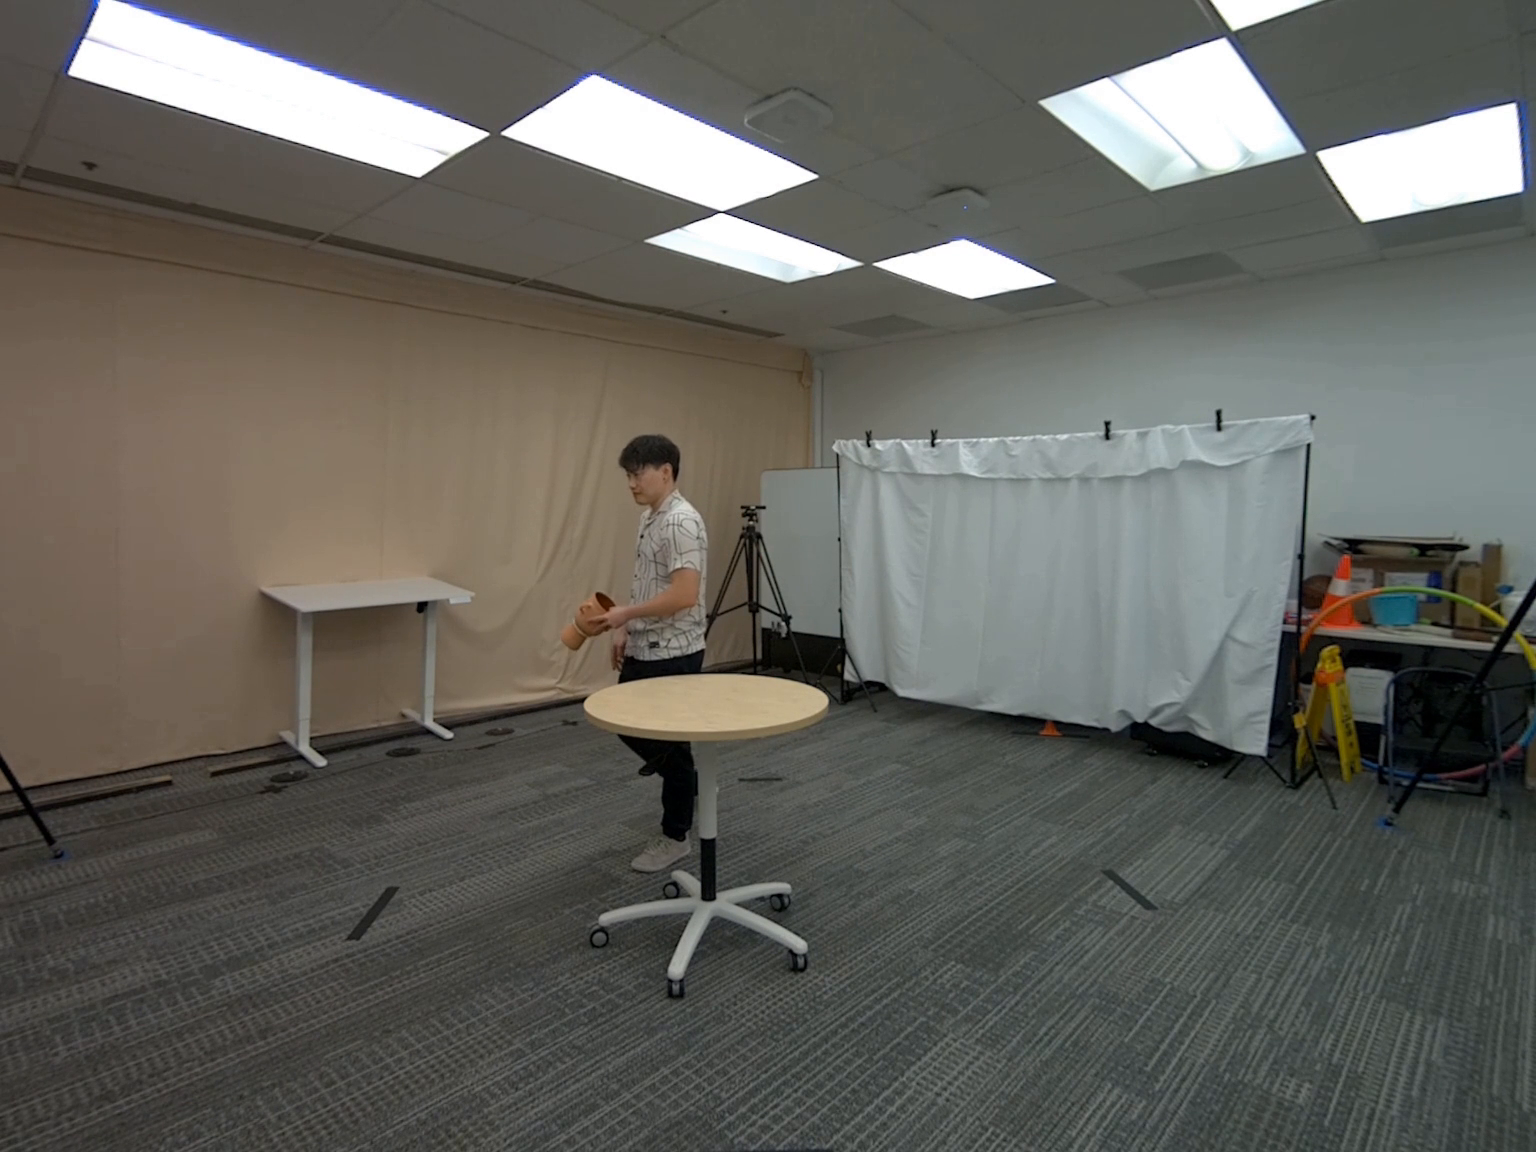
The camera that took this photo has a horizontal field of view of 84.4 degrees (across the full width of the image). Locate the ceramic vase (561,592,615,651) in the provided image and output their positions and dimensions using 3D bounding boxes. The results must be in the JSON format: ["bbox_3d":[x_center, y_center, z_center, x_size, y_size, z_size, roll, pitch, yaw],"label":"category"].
[{"bbox_3d":[-0.684,0.177,3.203,0.155,0.220,0.137,43,12,-19],"label":"ceramic vase"}]
